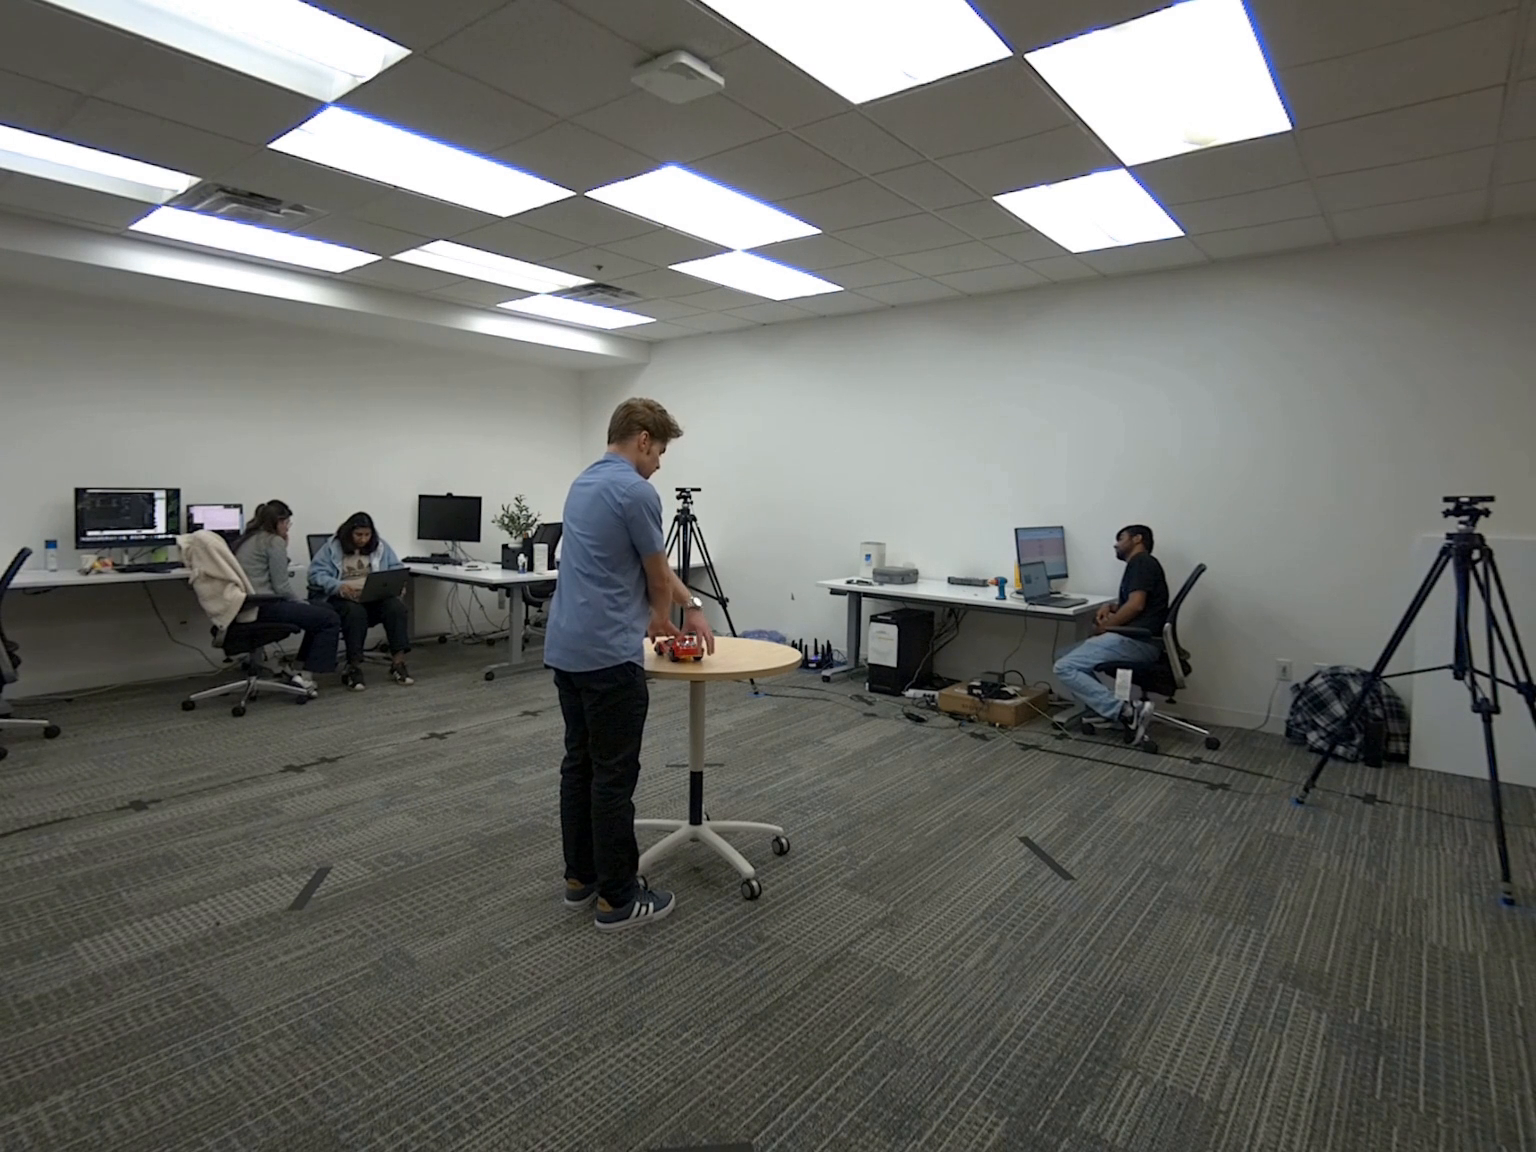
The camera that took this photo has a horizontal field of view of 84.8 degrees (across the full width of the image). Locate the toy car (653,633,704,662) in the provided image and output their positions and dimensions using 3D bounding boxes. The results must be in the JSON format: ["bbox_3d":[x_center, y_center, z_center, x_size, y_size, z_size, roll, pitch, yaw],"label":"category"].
[{"bbox_3d":[-0.314,0.260,3.025,0.127,0.084,0.259,-1,-6,-26],"label":"toy car"}]
